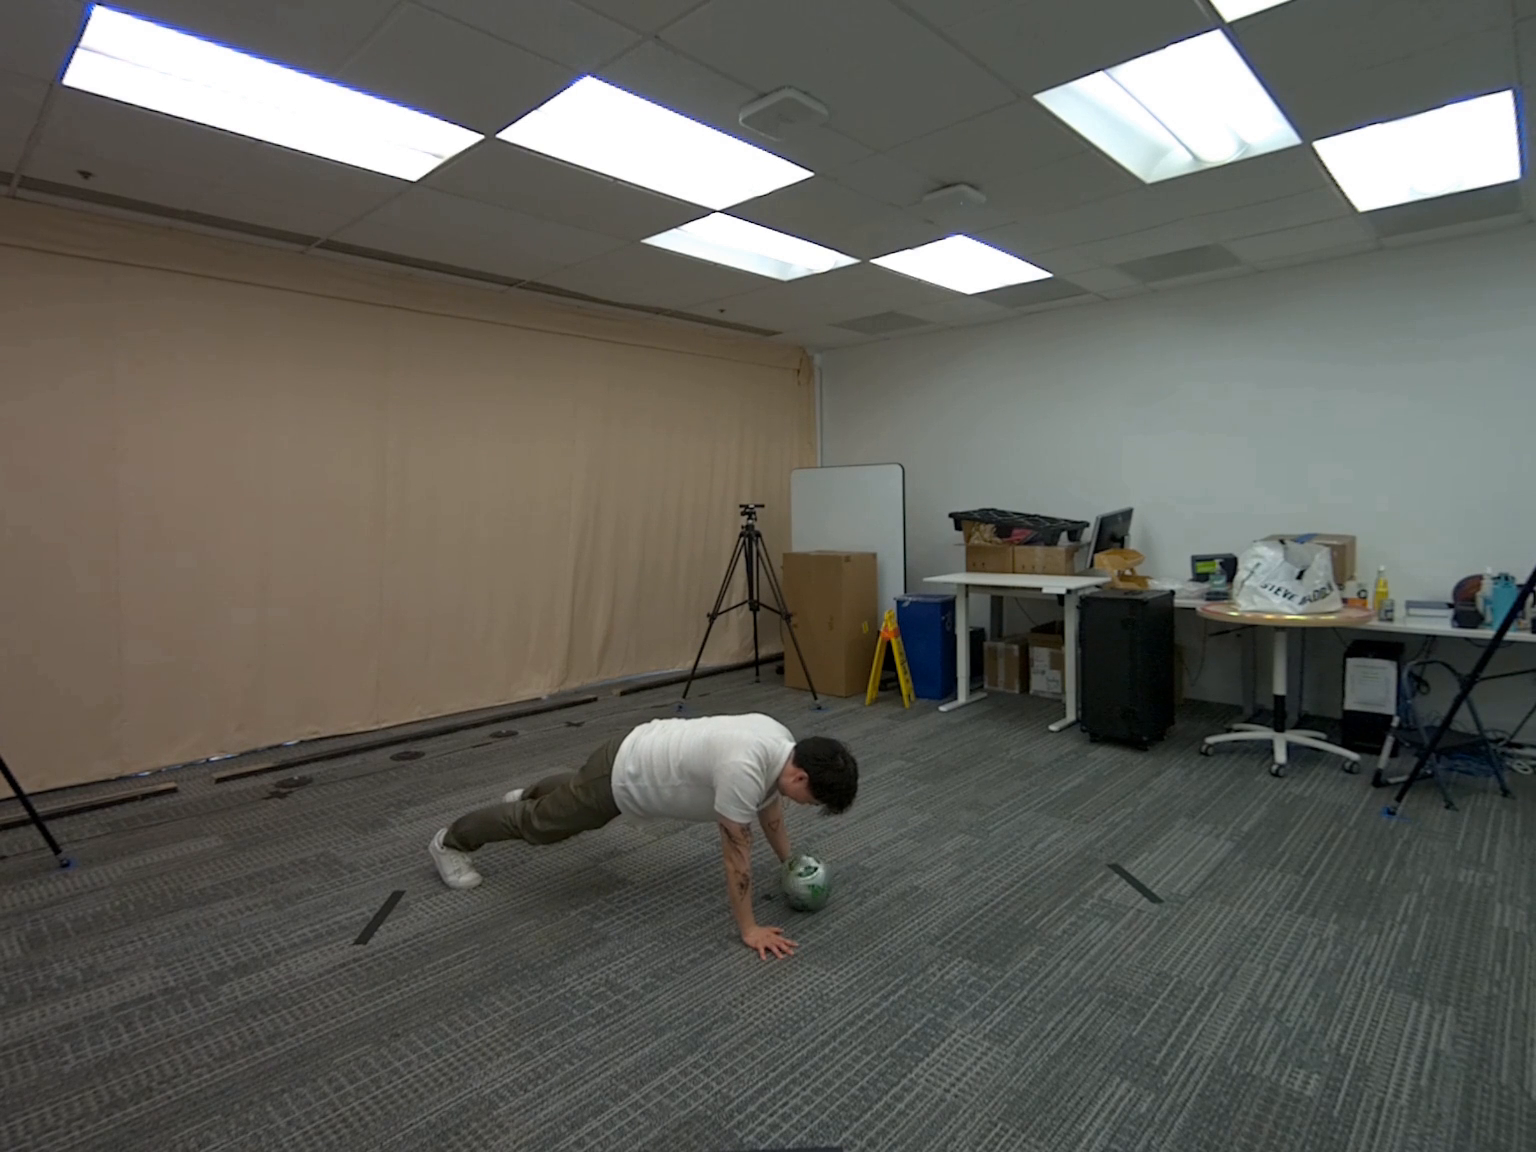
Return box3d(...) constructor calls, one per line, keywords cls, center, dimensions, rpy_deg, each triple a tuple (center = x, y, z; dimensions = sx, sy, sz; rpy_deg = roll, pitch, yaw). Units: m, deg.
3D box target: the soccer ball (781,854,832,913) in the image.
box3d(cls="soccer ball", center=(0.134, 1.053, 2.898), dimensions=(0.187, 0.187, 0.188), rpy_deg=(-1, 4, -2))
